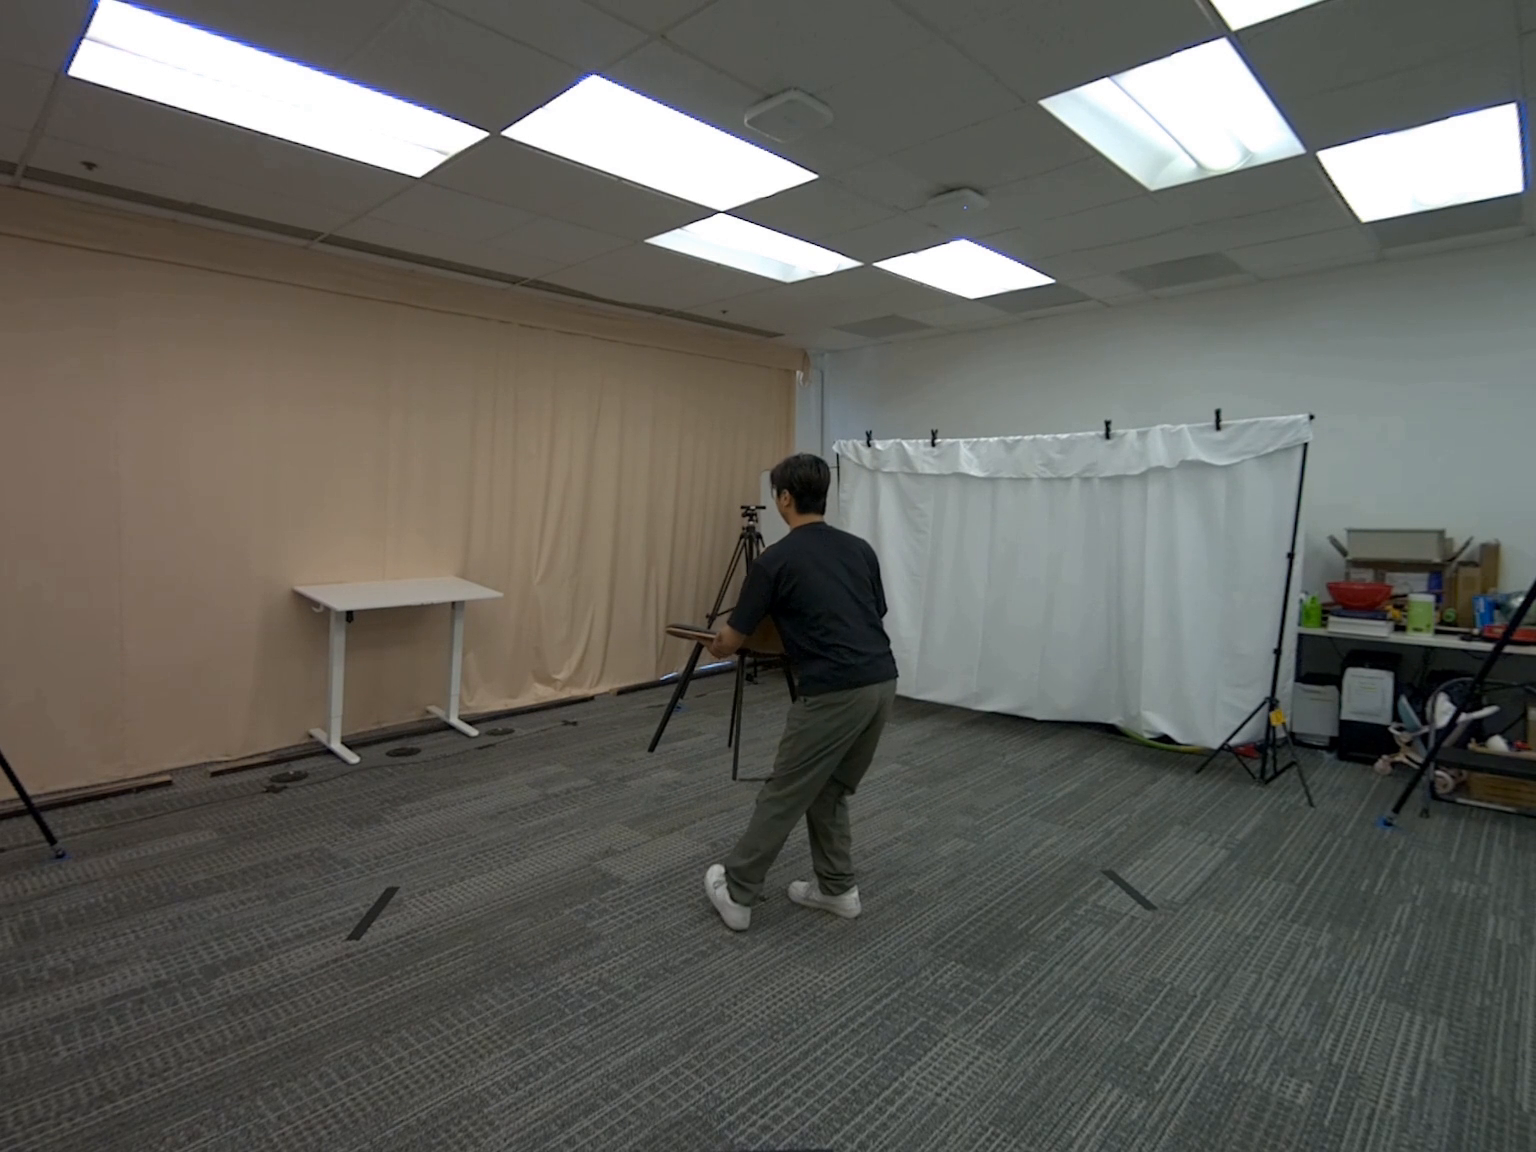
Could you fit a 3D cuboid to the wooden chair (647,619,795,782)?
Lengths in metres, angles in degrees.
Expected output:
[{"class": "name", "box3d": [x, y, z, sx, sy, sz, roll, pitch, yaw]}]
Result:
[{"class": "wooden chair", "box3d": [-0.098, 0.286, 3.199, 0.541, 0.877, 0.462, 10, 1, 43]}]
